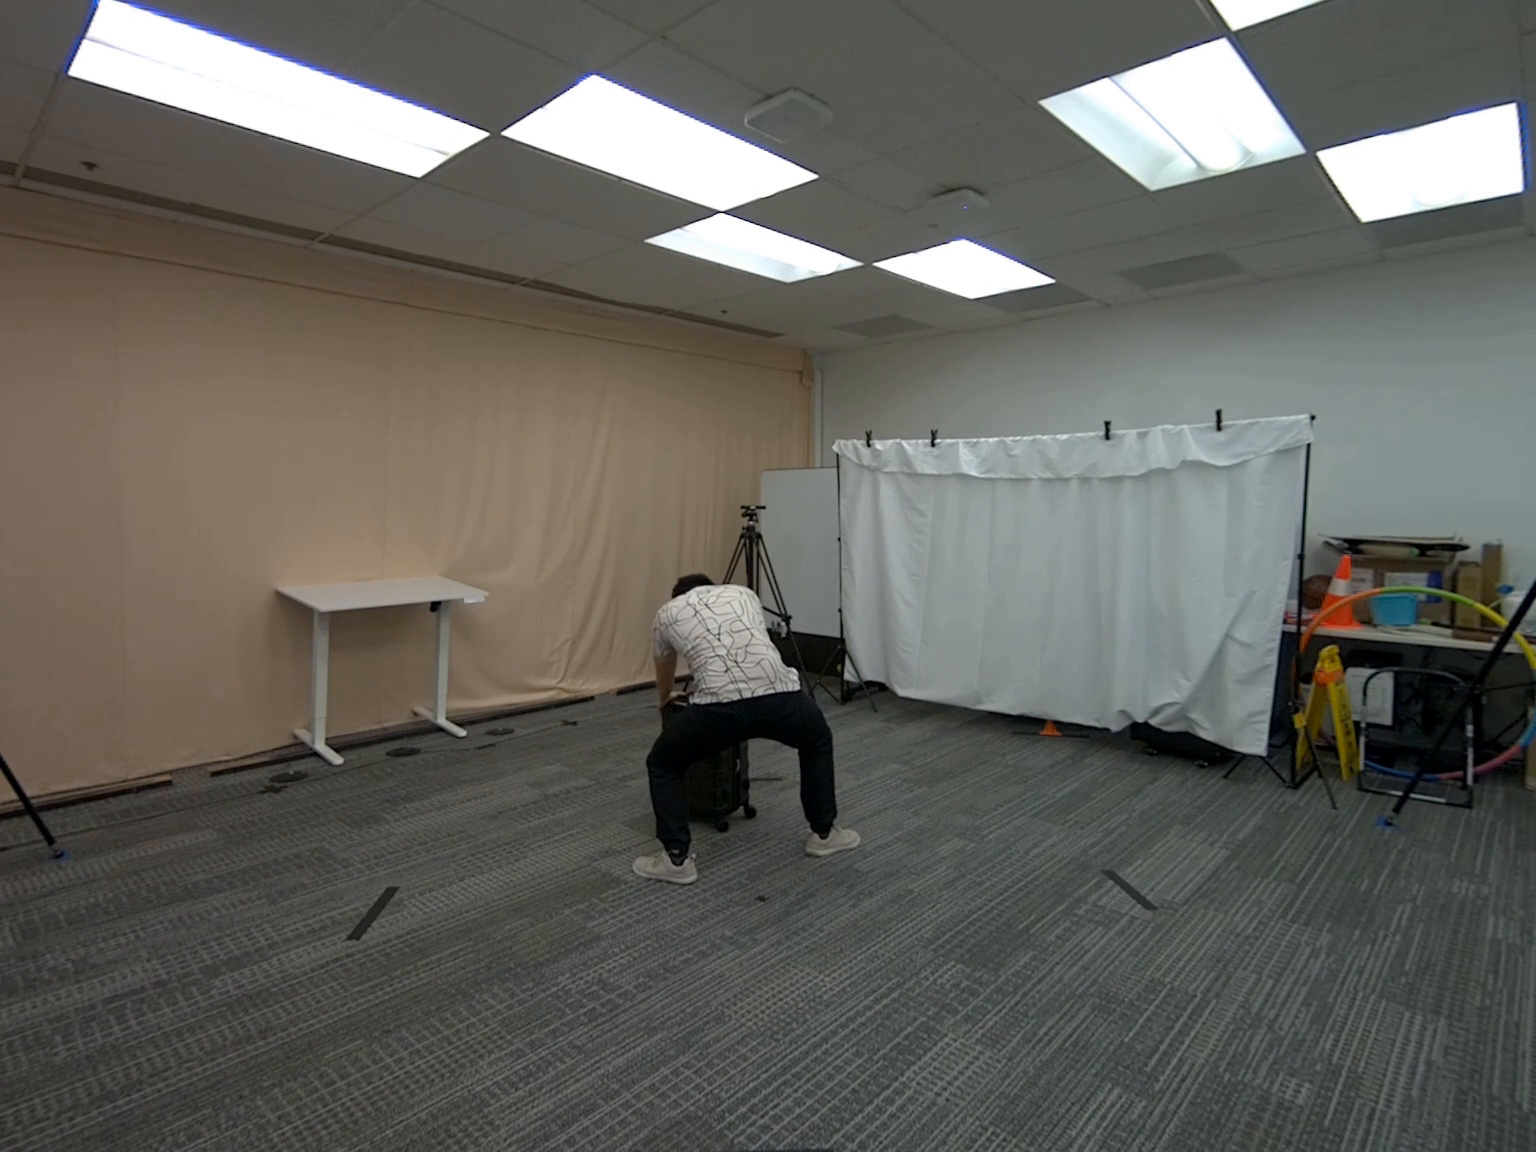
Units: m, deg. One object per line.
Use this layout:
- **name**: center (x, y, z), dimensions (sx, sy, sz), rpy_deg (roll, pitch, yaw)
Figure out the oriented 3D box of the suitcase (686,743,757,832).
- **suitcase**: center (-0.278, 0.806, 3.770), dimensions (0.387, 0.548, 0.241), rpy_deg (1, 4, 38)
